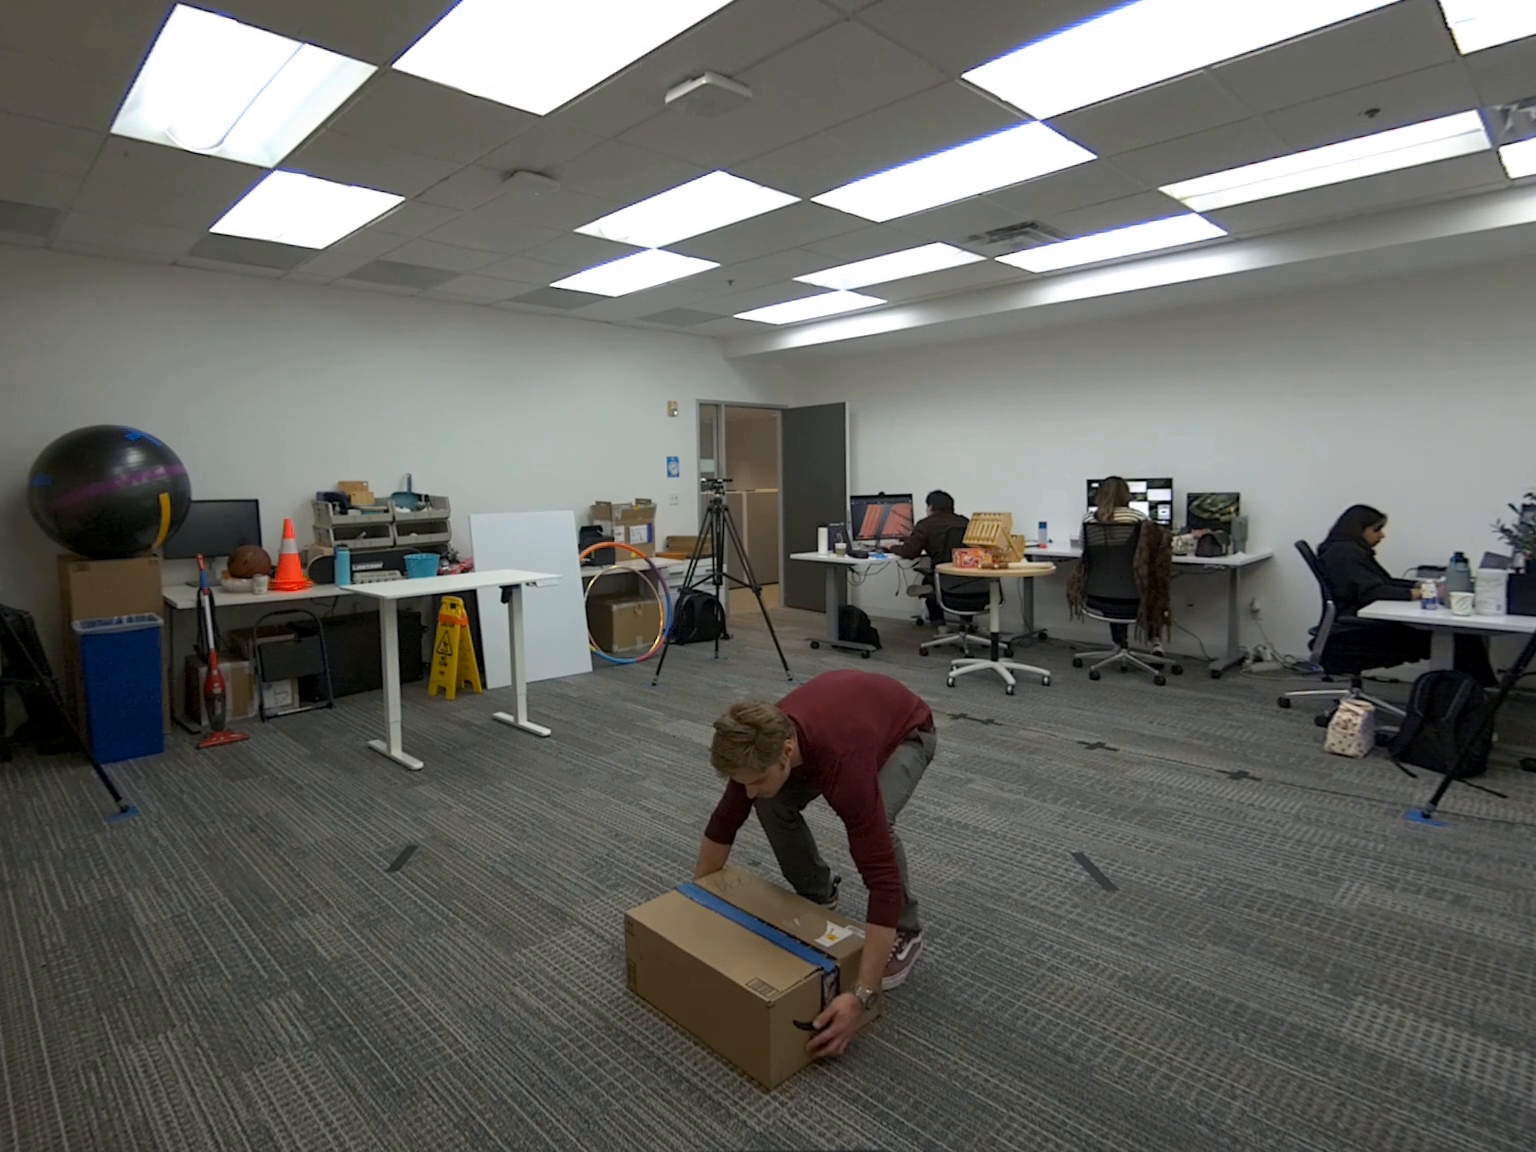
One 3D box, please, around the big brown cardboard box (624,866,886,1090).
[{"bbox_3d":[-0.041,1.016,2.290,0.406,0.232,0.607,-6,8,-43],"label":"big brown cardboard box"}]
